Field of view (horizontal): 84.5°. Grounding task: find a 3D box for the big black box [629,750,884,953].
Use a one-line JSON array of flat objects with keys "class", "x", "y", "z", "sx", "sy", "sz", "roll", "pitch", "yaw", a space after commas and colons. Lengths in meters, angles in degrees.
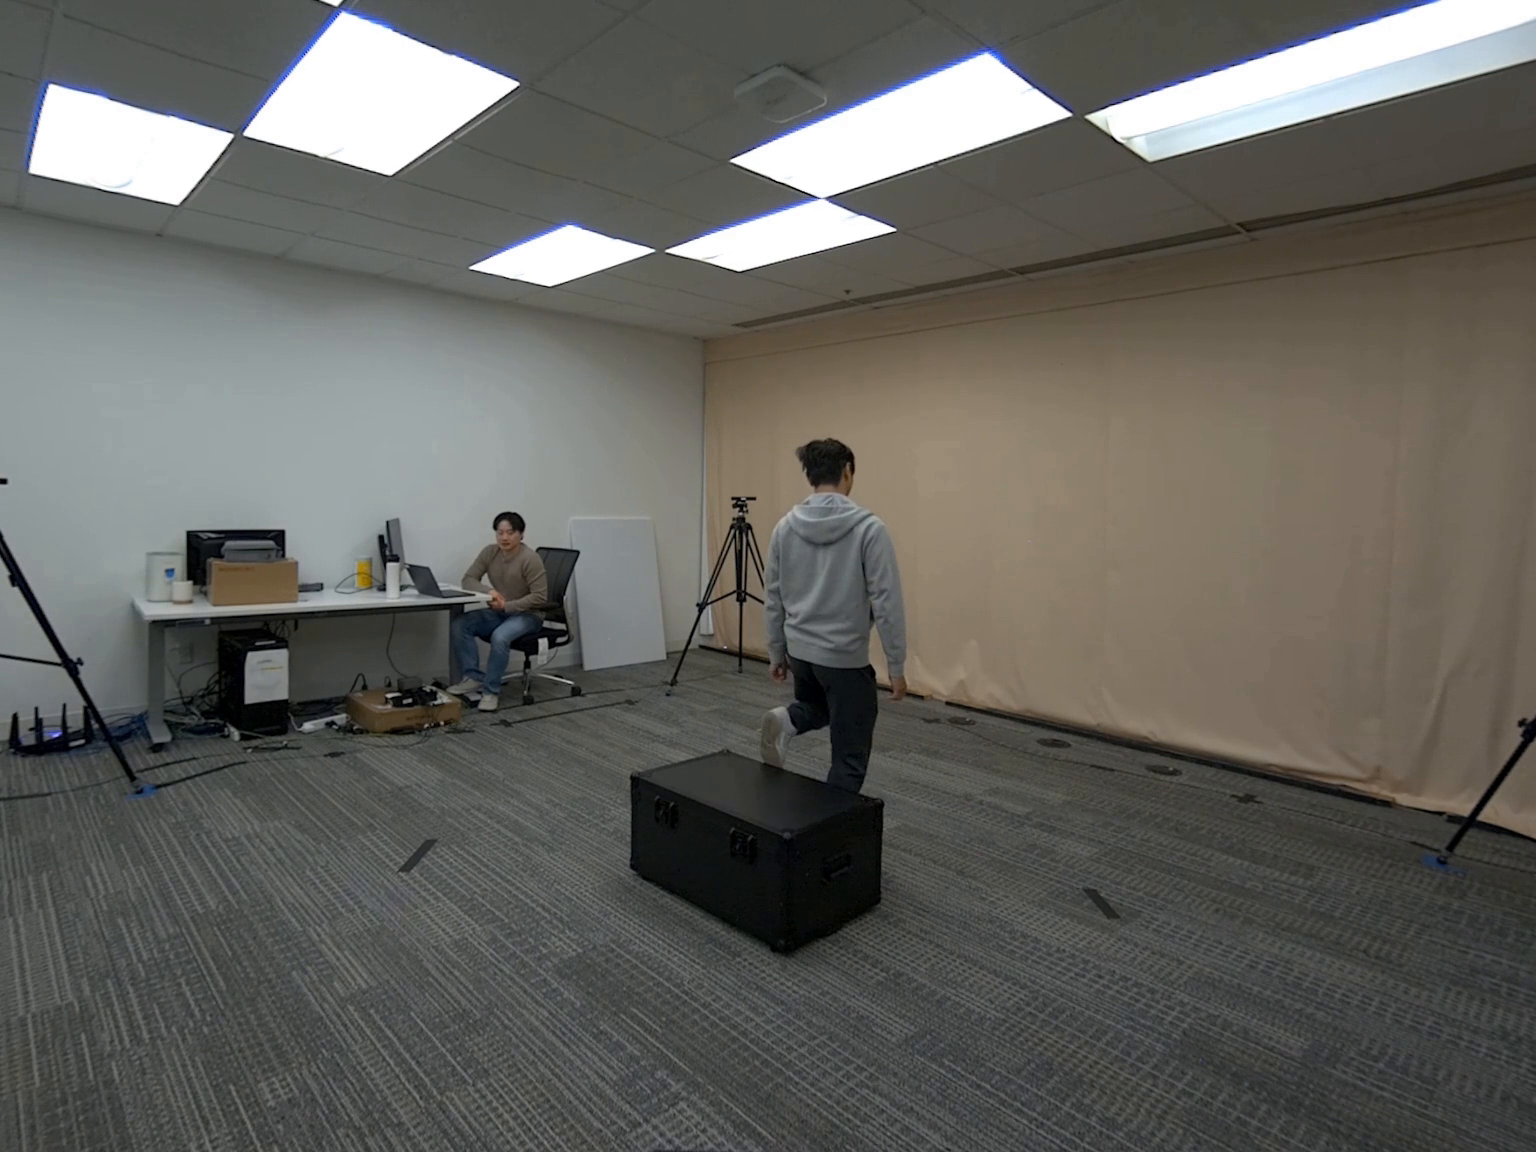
[{"class": "big black box", "x": -0.088, "y": 0.929, "z": 2.995, "sx": 0.884, "sy": 0.395, "sz": 0.509, "roll": 7, "pitch": 7, "yaw": 44}]
